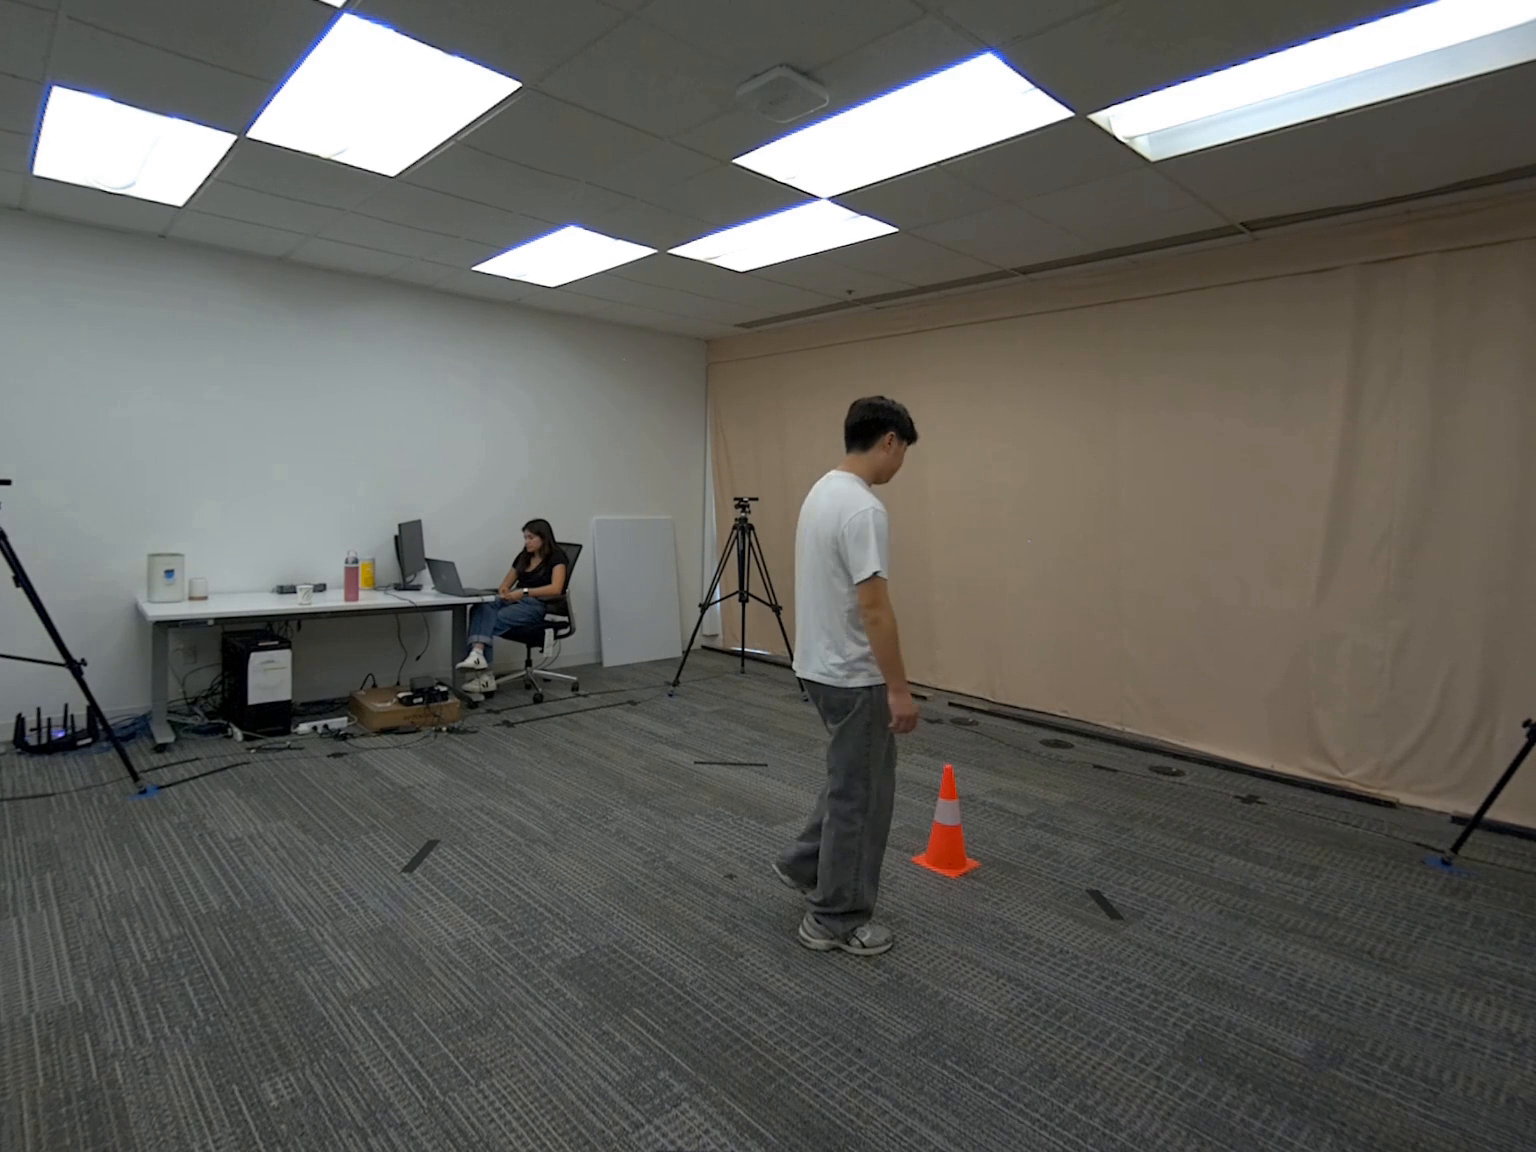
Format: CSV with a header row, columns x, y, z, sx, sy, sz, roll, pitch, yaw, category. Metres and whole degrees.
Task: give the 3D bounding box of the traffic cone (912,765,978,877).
x,y,z,sx,sy,sz,roll,pitch,yaw,category
0.696,0.932,3.264,0.200,0.382,0.209,0,6,-39,traffic cone
